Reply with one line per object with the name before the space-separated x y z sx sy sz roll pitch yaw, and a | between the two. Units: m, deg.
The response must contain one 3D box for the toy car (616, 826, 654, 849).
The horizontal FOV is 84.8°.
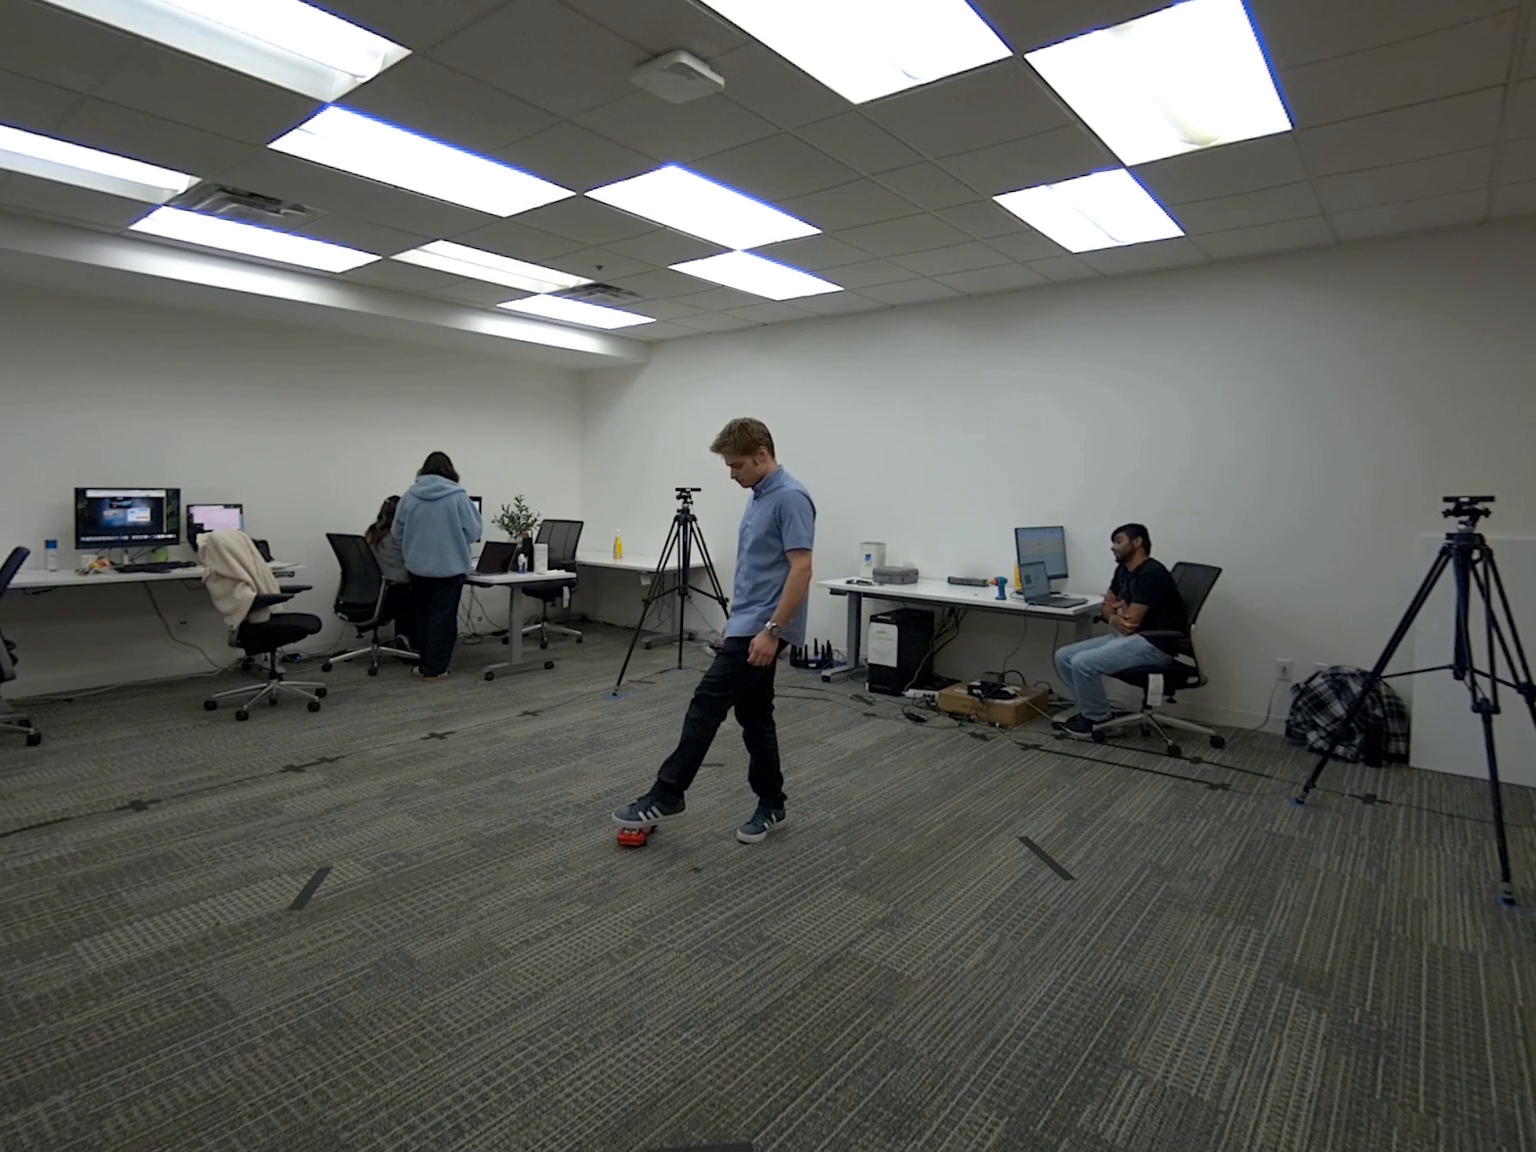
toy car | -0.530 1.010 3.364 0.131 0.084 0.251 1 -5 7
